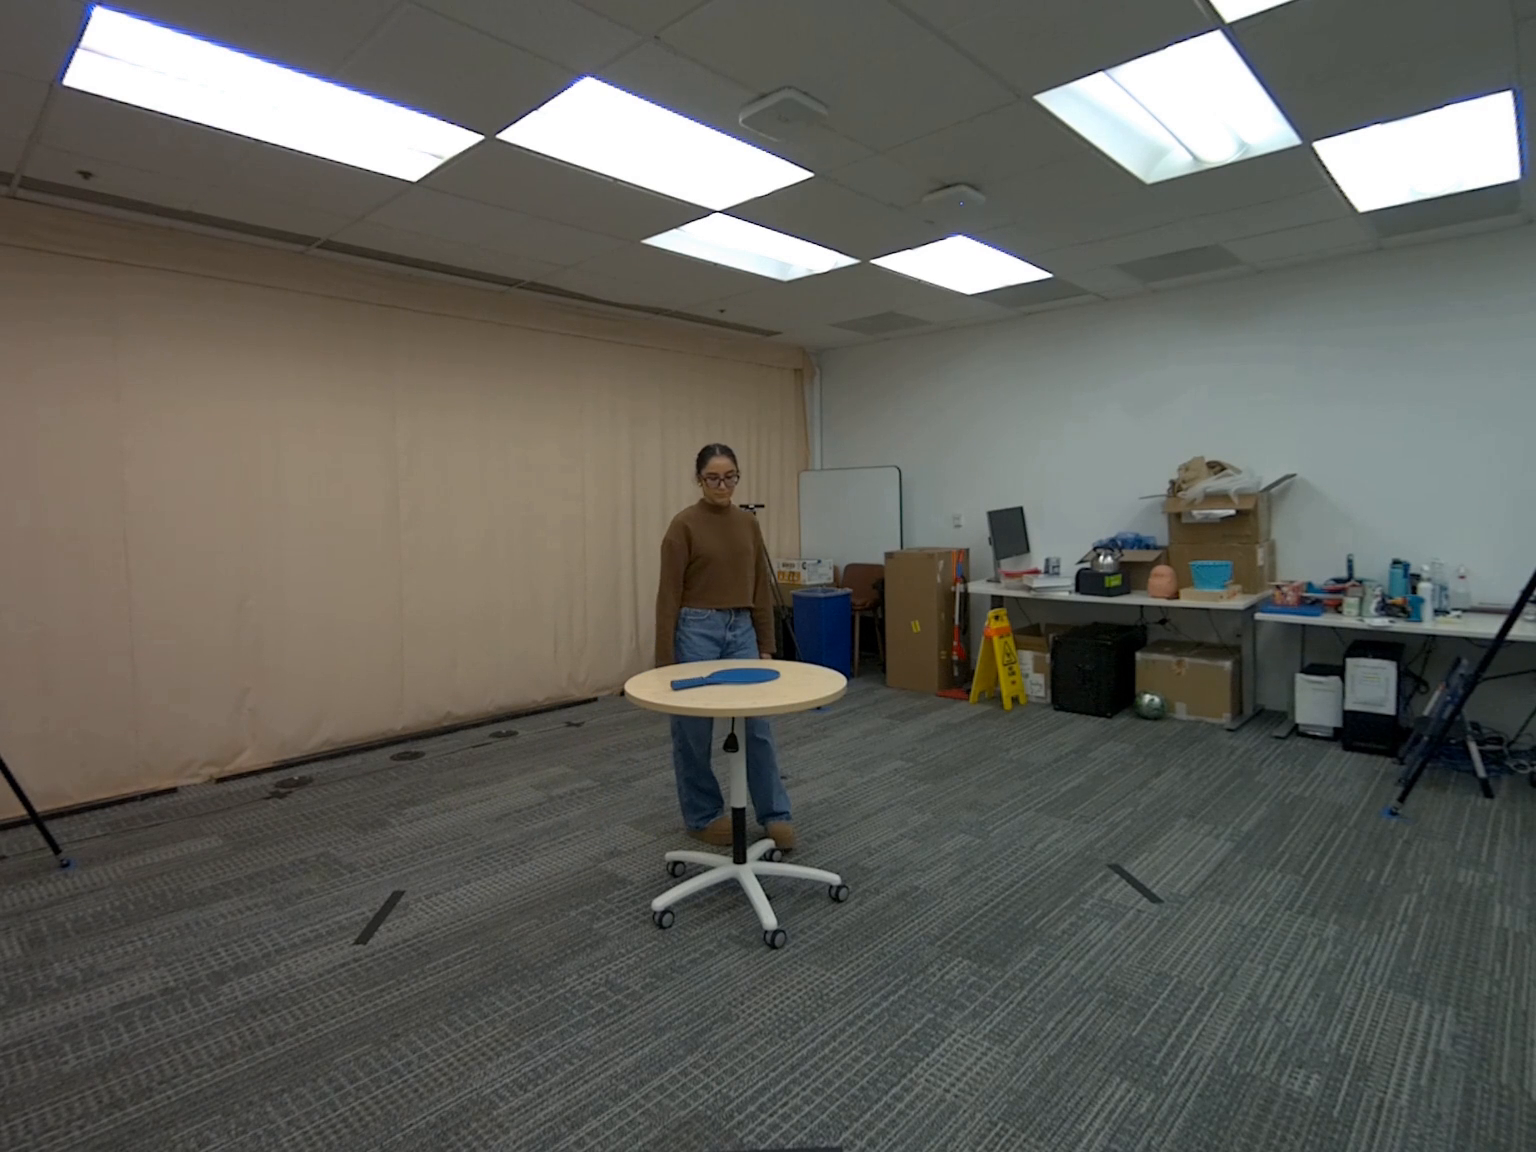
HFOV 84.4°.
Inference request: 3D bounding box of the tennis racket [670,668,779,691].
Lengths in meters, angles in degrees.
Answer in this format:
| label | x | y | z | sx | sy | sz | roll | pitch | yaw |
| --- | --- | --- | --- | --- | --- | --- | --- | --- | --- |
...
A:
| label | x | y | z | sx | sy | sz | roll | pitch | yaw |
| --- | --- | --- | --- | --- | --- | --- | --- | --- | --- |
| tennis racket | -0.143 | 0.358 | 2.926 | 0.420 | 0.032 | 0.220 | -3 | 6 | -34 |
